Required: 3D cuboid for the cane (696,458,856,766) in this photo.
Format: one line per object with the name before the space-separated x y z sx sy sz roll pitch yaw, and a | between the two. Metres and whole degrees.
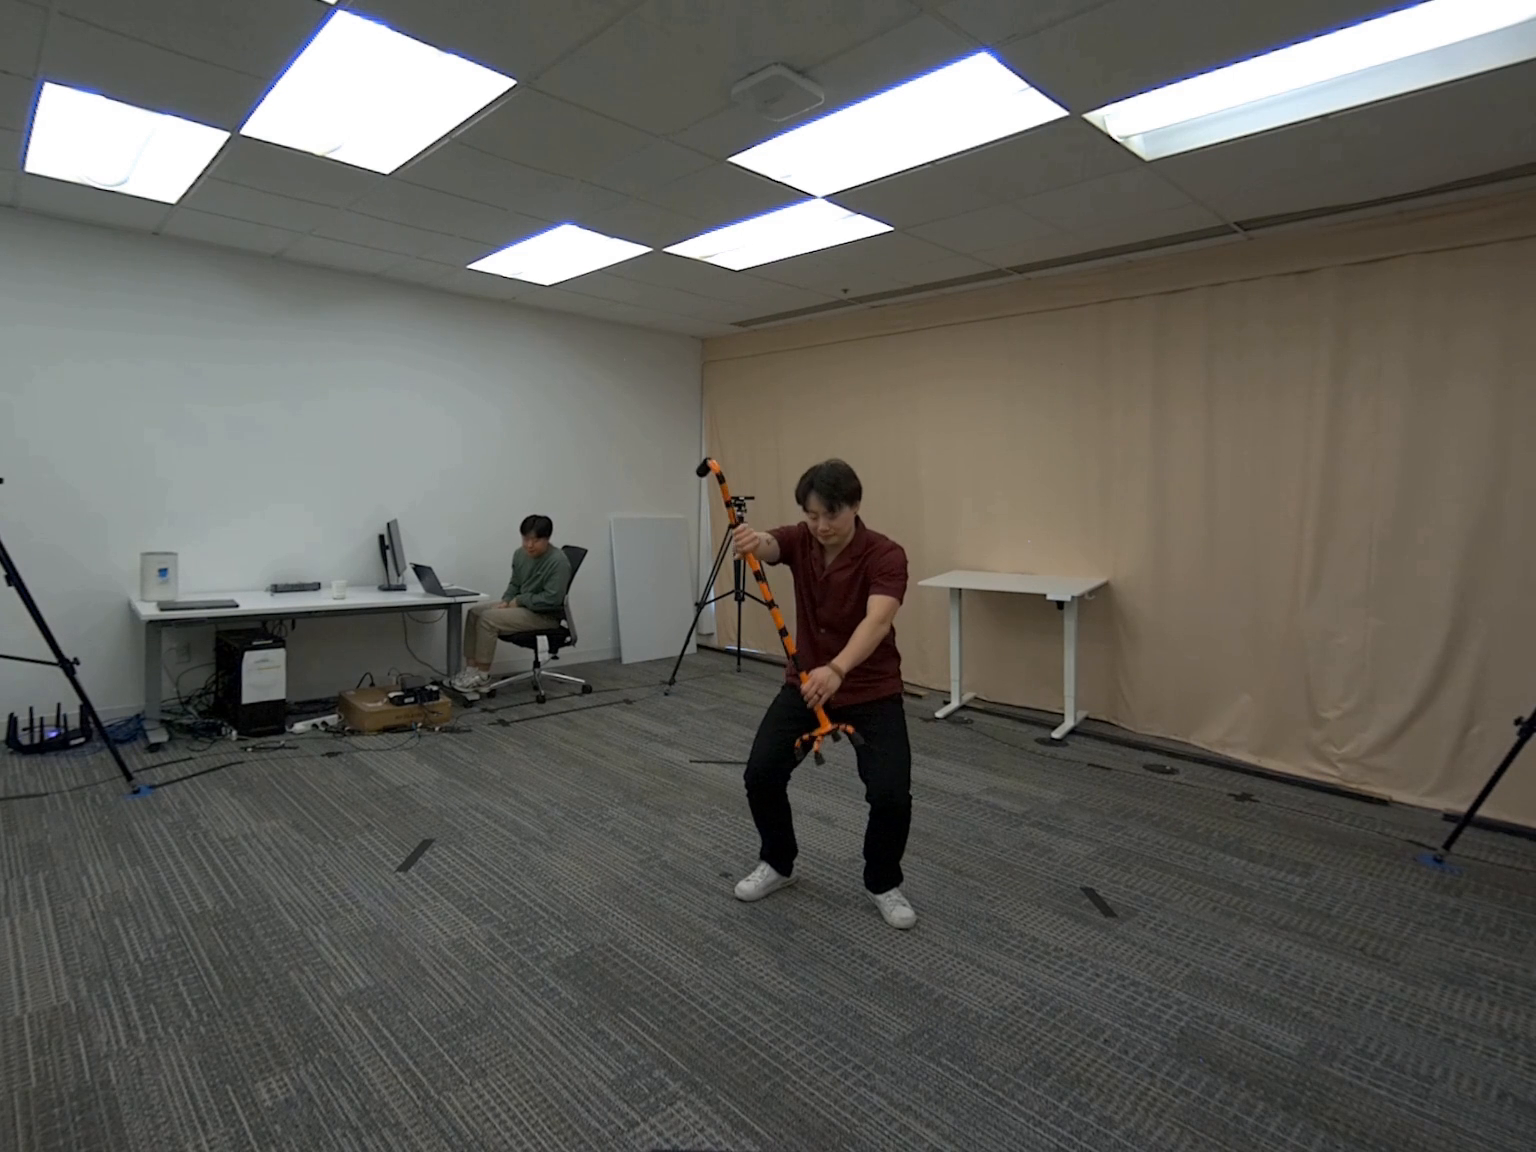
cane | -0.012 0.088 2.406 0.150 0.912 0.207 -21 -5 -15
